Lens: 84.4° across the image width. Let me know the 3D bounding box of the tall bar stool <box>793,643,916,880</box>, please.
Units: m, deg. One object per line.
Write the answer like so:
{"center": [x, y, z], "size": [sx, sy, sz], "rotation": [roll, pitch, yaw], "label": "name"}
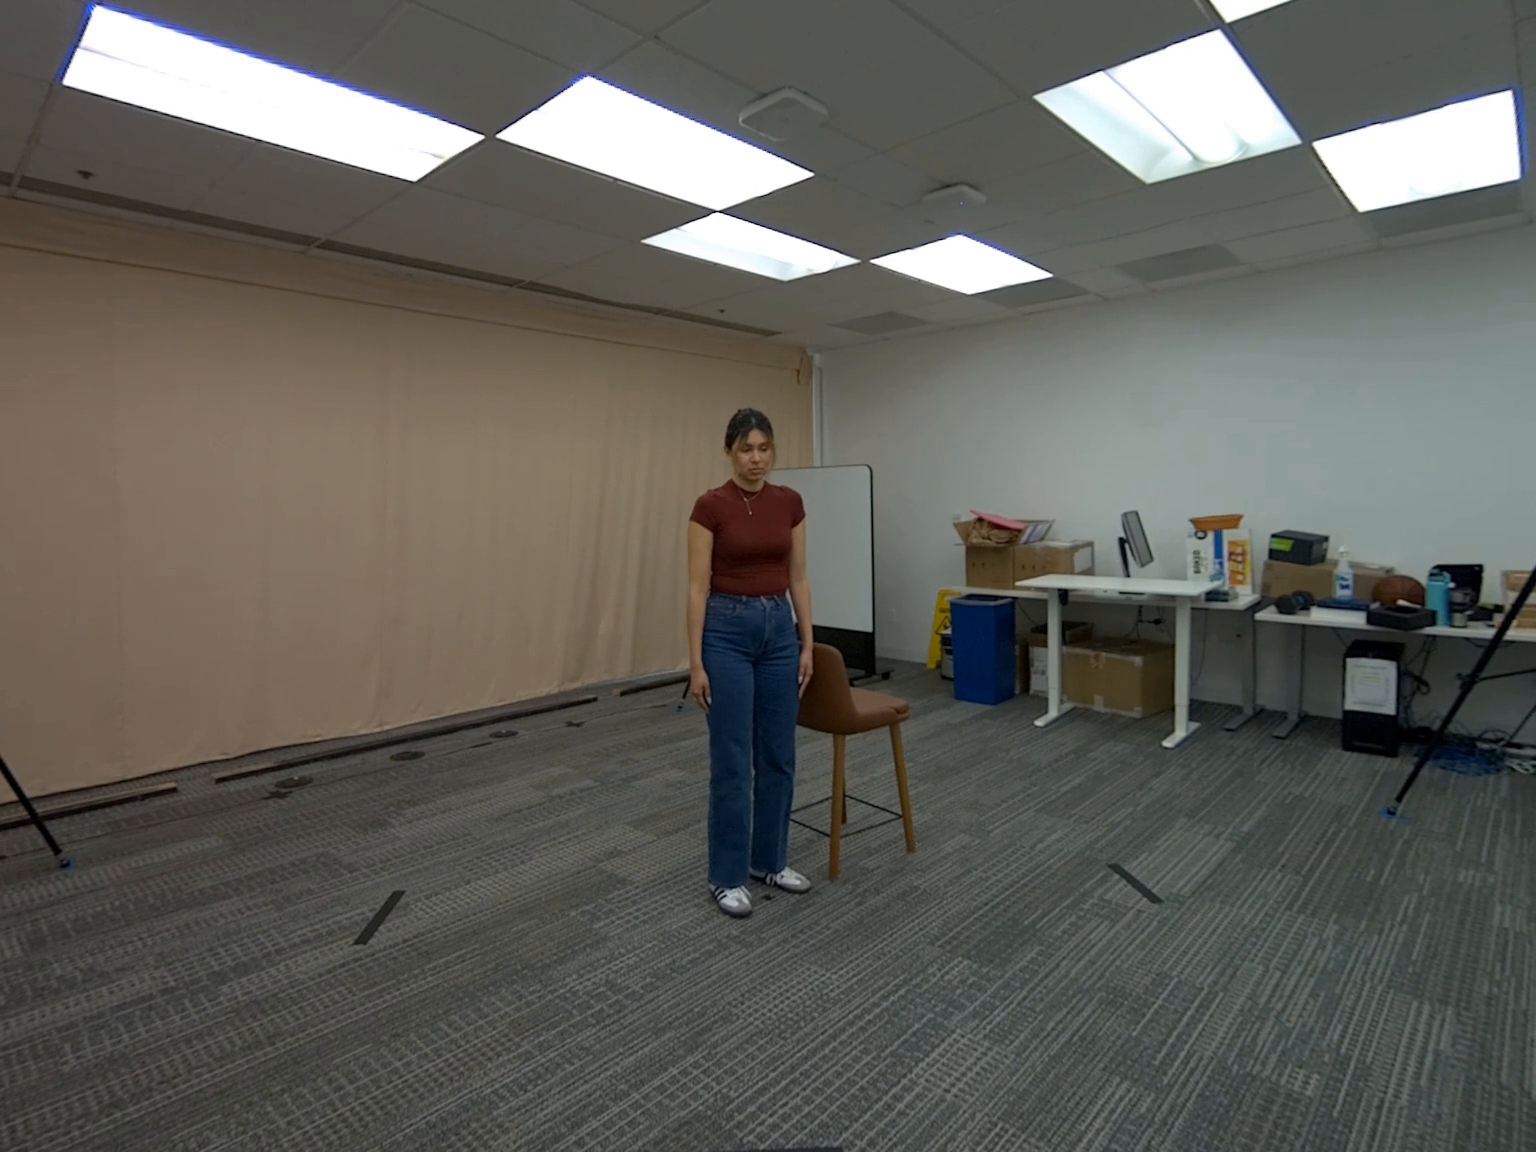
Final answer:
{"center": [0.281, 0.667, 3.360], "size": [0.454, 0.887, 0.471], "rotation": [-6, 6, -38], "label": "tall bar stool"}
